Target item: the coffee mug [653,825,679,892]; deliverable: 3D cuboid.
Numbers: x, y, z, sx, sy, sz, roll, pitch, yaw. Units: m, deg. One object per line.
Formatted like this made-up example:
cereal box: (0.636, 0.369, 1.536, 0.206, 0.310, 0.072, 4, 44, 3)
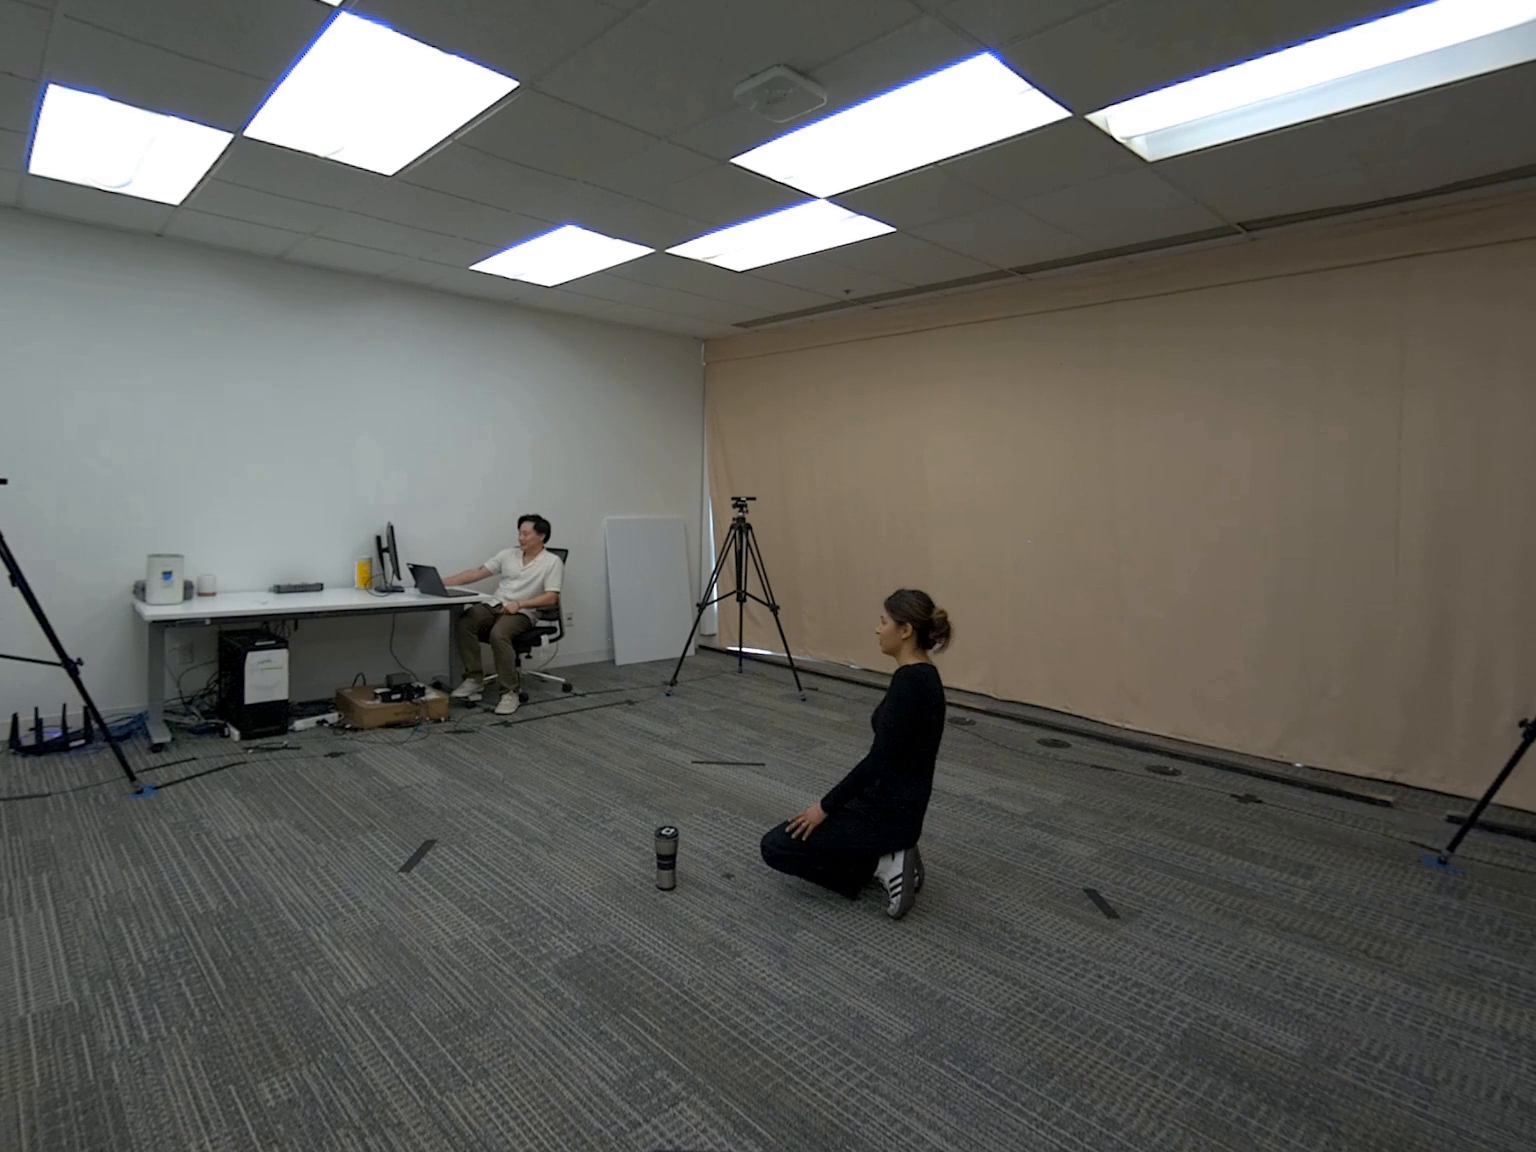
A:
coffee mug: (-0.355, 1.003, 3.024, 0.089, 0.202, 0.120, 1, 7, 21)
